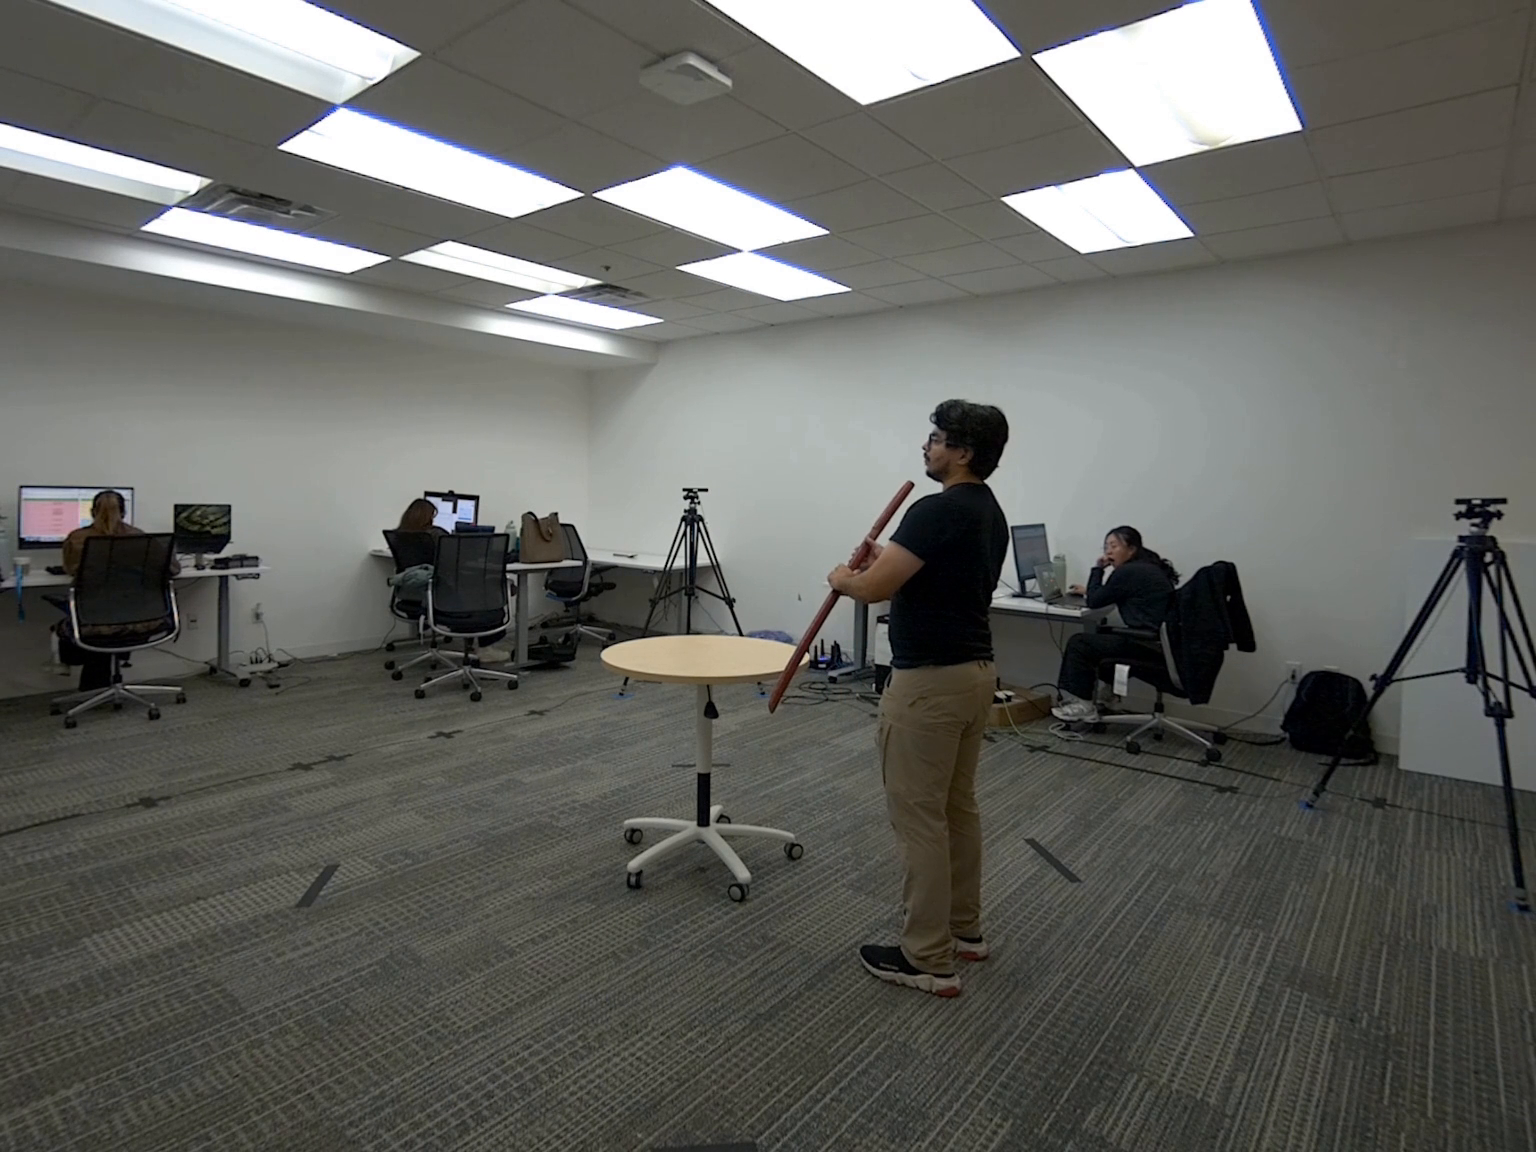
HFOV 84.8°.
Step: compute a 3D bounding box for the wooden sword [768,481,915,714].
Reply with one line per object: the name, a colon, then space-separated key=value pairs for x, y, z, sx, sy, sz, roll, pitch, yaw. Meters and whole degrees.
wooden sword: x=0.249 y=0.025 z=2.709 sx=0.053 sy=0.023 sz=1.029 roll=11 pitch=52 yaw=31
